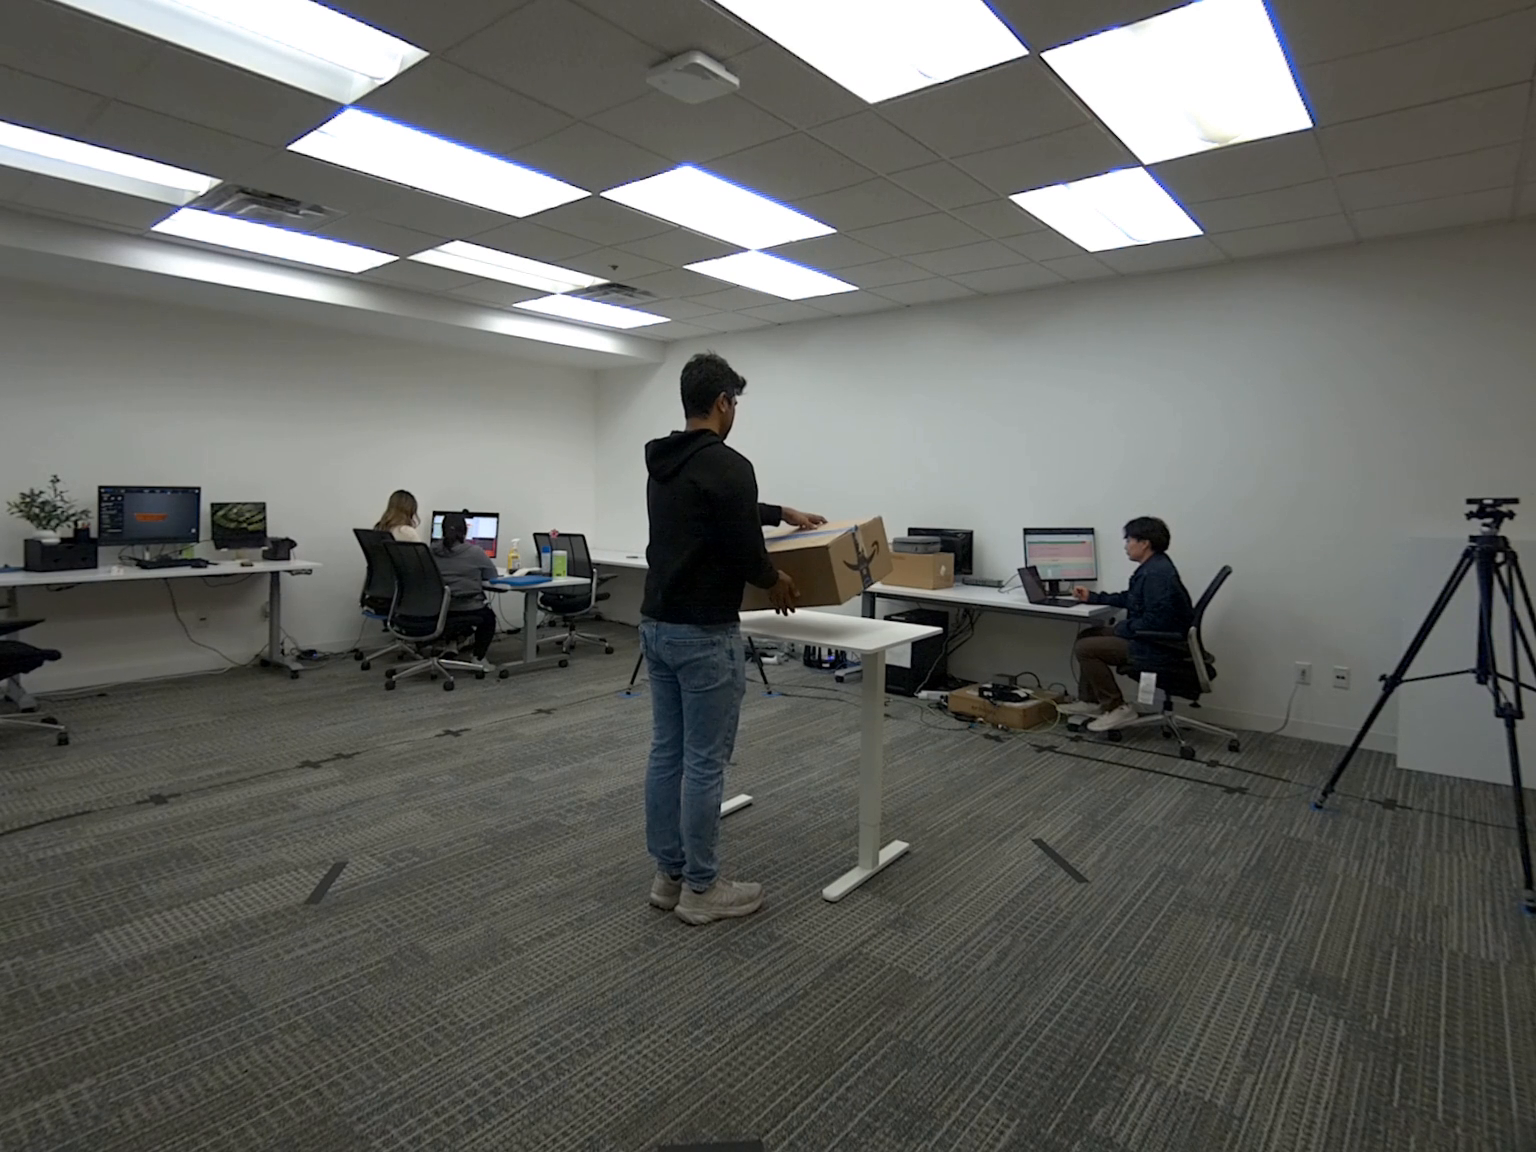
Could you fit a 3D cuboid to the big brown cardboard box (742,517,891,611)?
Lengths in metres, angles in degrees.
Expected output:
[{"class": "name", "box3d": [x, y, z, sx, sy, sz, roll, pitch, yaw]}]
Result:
[{"class": "big brown cardboard box", "box3d": [0.091, -0.045, 3.163, 0.605, 0.231, 0.410, -6, 12, 36]}]
